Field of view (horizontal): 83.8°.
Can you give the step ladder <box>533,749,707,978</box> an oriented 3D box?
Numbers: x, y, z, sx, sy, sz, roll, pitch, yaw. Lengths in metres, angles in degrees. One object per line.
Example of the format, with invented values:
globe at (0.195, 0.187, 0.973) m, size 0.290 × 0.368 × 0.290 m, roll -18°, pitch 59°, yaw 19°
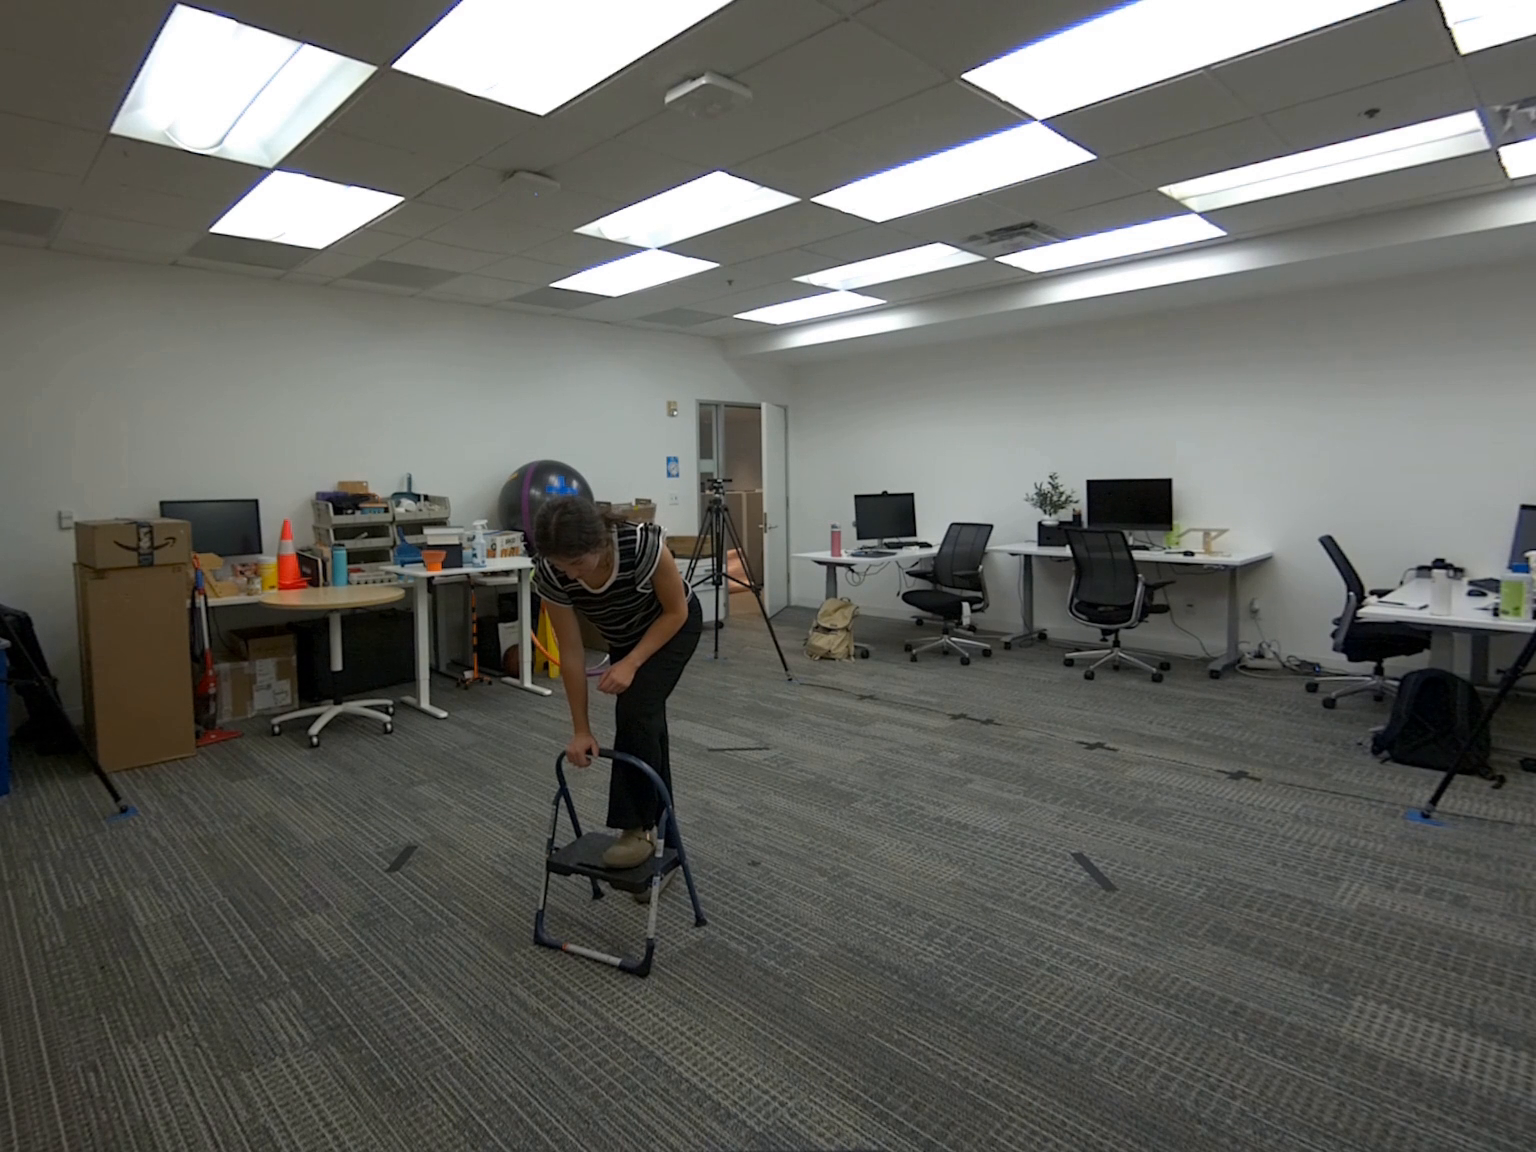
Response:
step ladder at (-0.462, 0.808, 2.628) m, size 0.441 × 0.603 × 0.343 m, roll 1°, pitch 6°, yaw 26°
